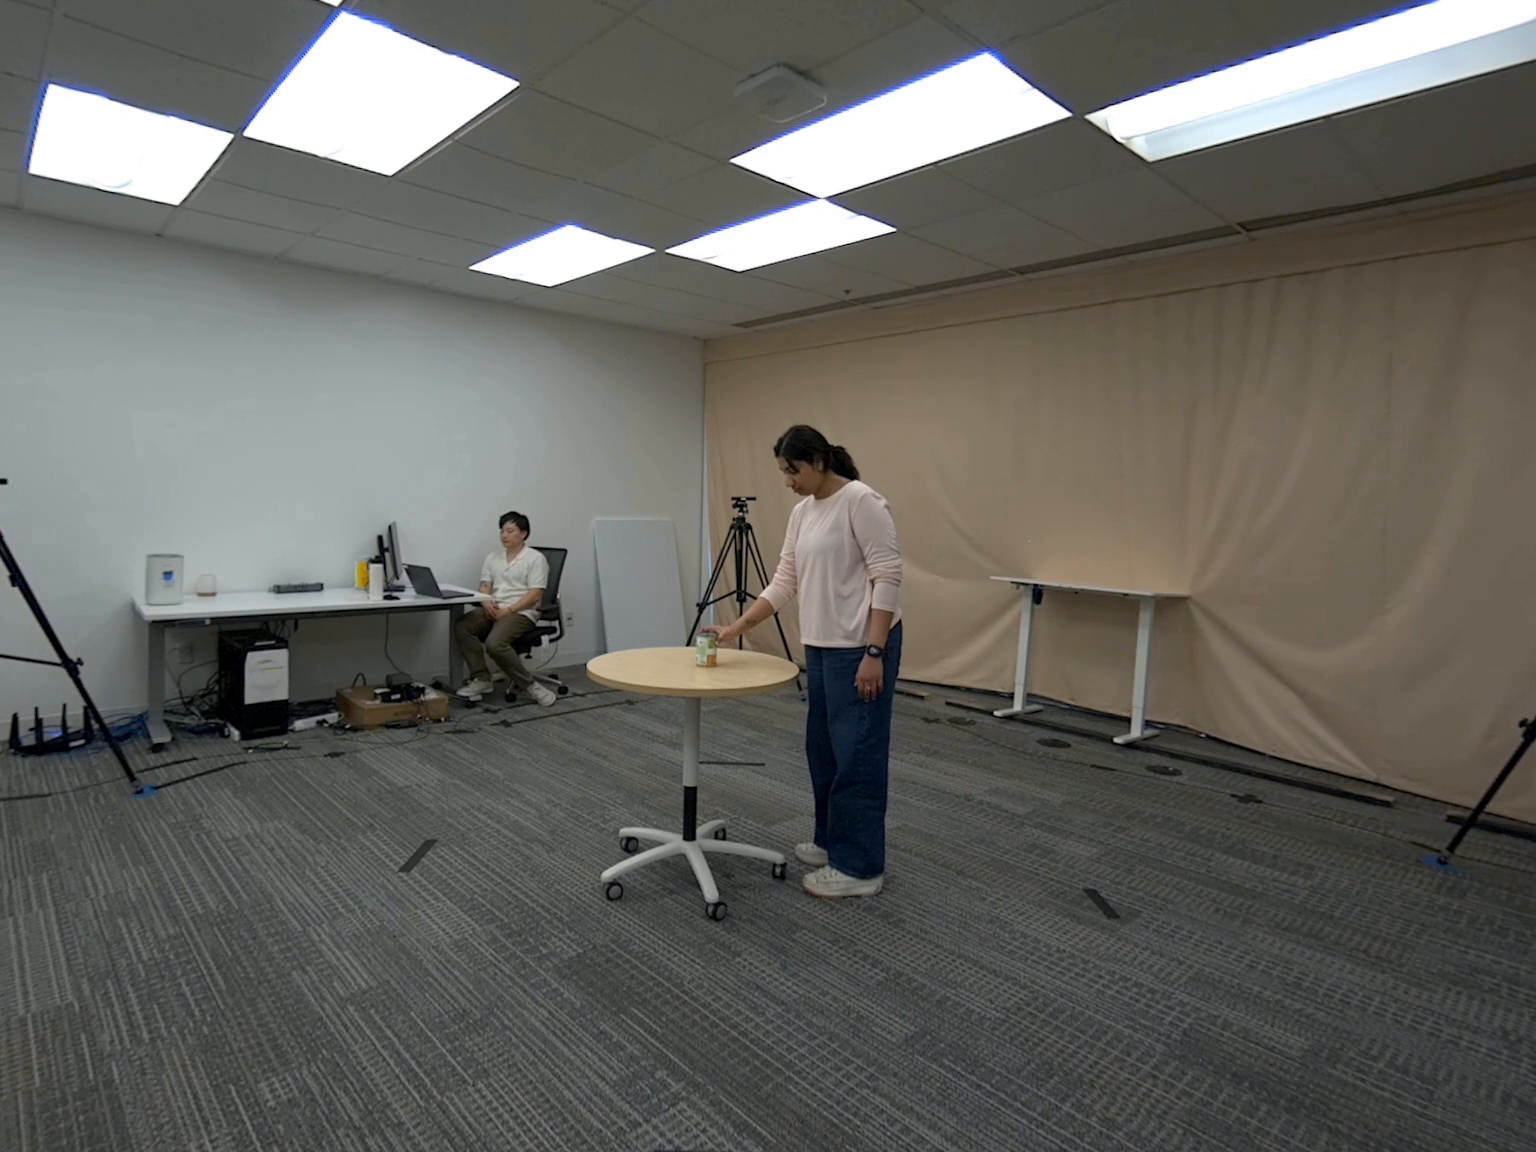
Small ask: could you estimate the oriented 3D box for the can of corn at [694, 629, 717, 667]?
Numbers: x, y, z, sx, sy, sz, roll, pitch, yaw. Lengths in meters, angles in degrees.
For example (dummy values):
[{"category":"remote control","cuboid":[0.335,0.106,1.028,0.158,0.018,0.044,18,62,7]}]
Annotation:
[{"category":"can of corn","cuboid":[-0.226,0.270,3.051,0.074,0.111,0.074,5,4,-2]}]
